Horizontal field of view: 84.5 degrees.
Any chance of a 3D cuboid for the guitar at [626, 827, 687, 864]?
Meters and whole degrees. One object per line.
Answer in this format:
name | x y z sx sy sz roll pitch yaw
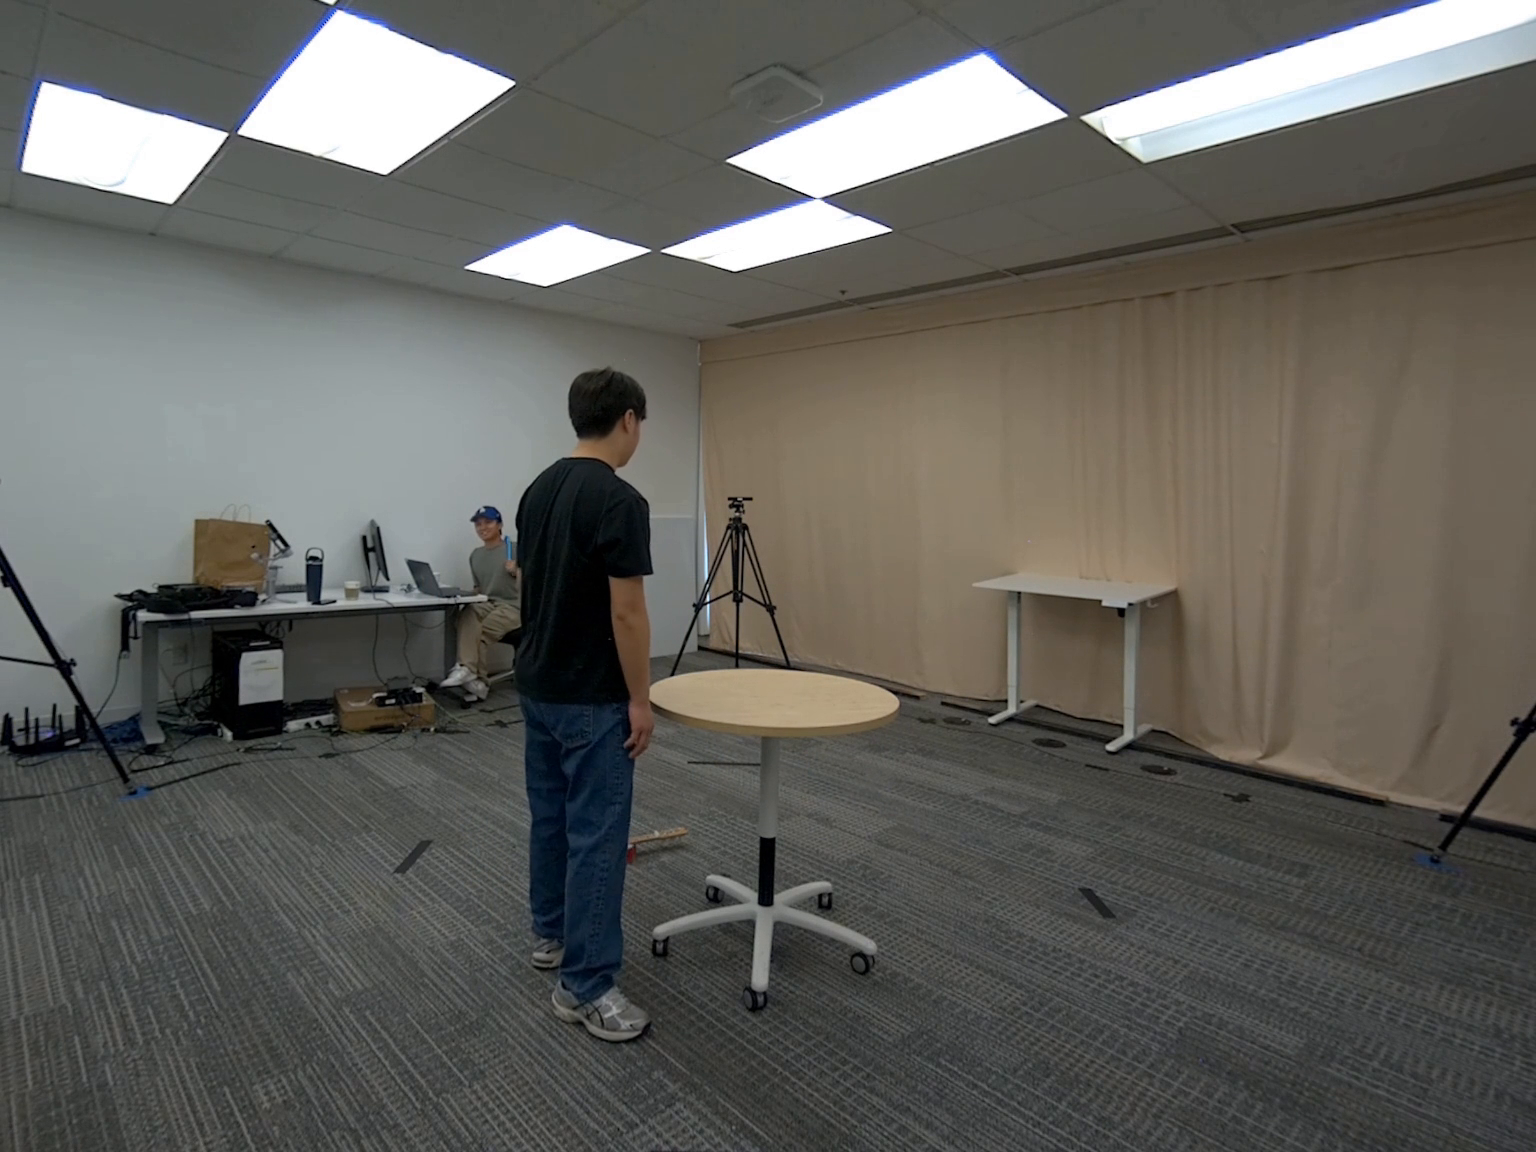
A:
guitar | -0.540 1.057 3.233 0.491 0.070 0.196 -1 5 -18
